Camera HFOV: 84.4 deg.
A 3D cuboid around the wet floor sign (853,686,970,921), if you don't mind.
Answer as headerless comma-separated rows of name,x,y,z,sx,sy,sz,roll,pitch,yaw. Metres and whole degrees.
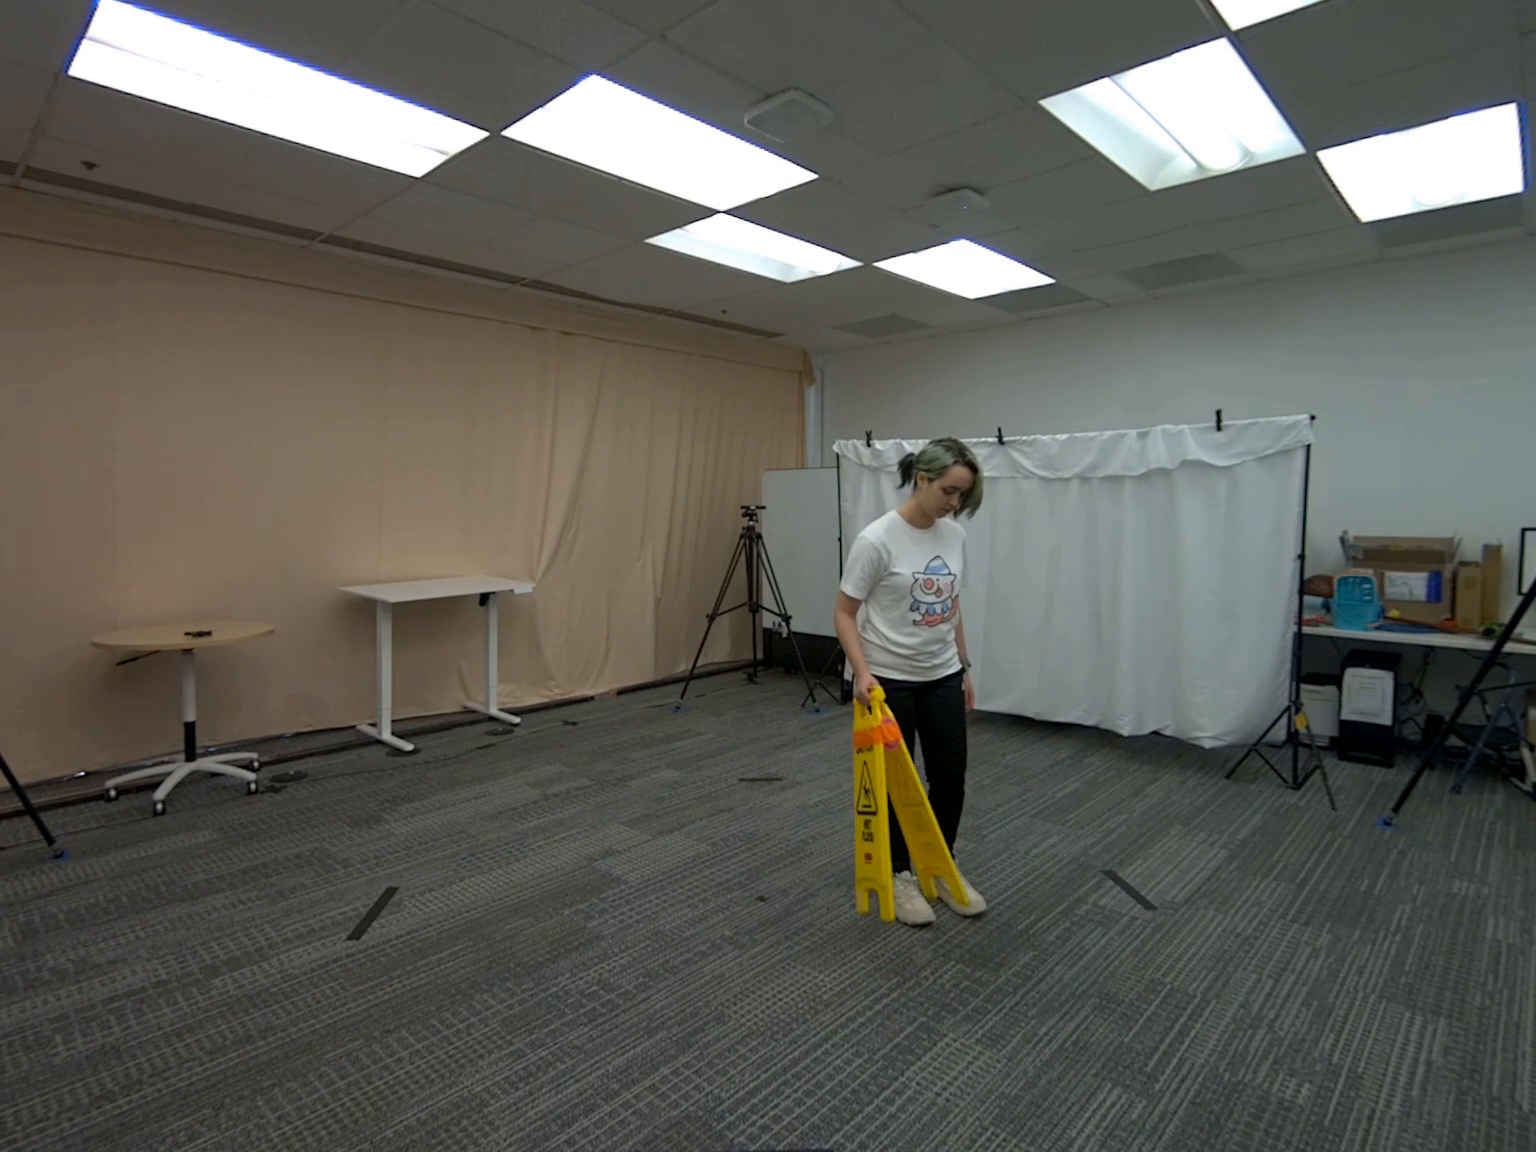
wet floor sign,0.372,0.676,2.566,0.286,0.653,0.283,-6,-14,-15
